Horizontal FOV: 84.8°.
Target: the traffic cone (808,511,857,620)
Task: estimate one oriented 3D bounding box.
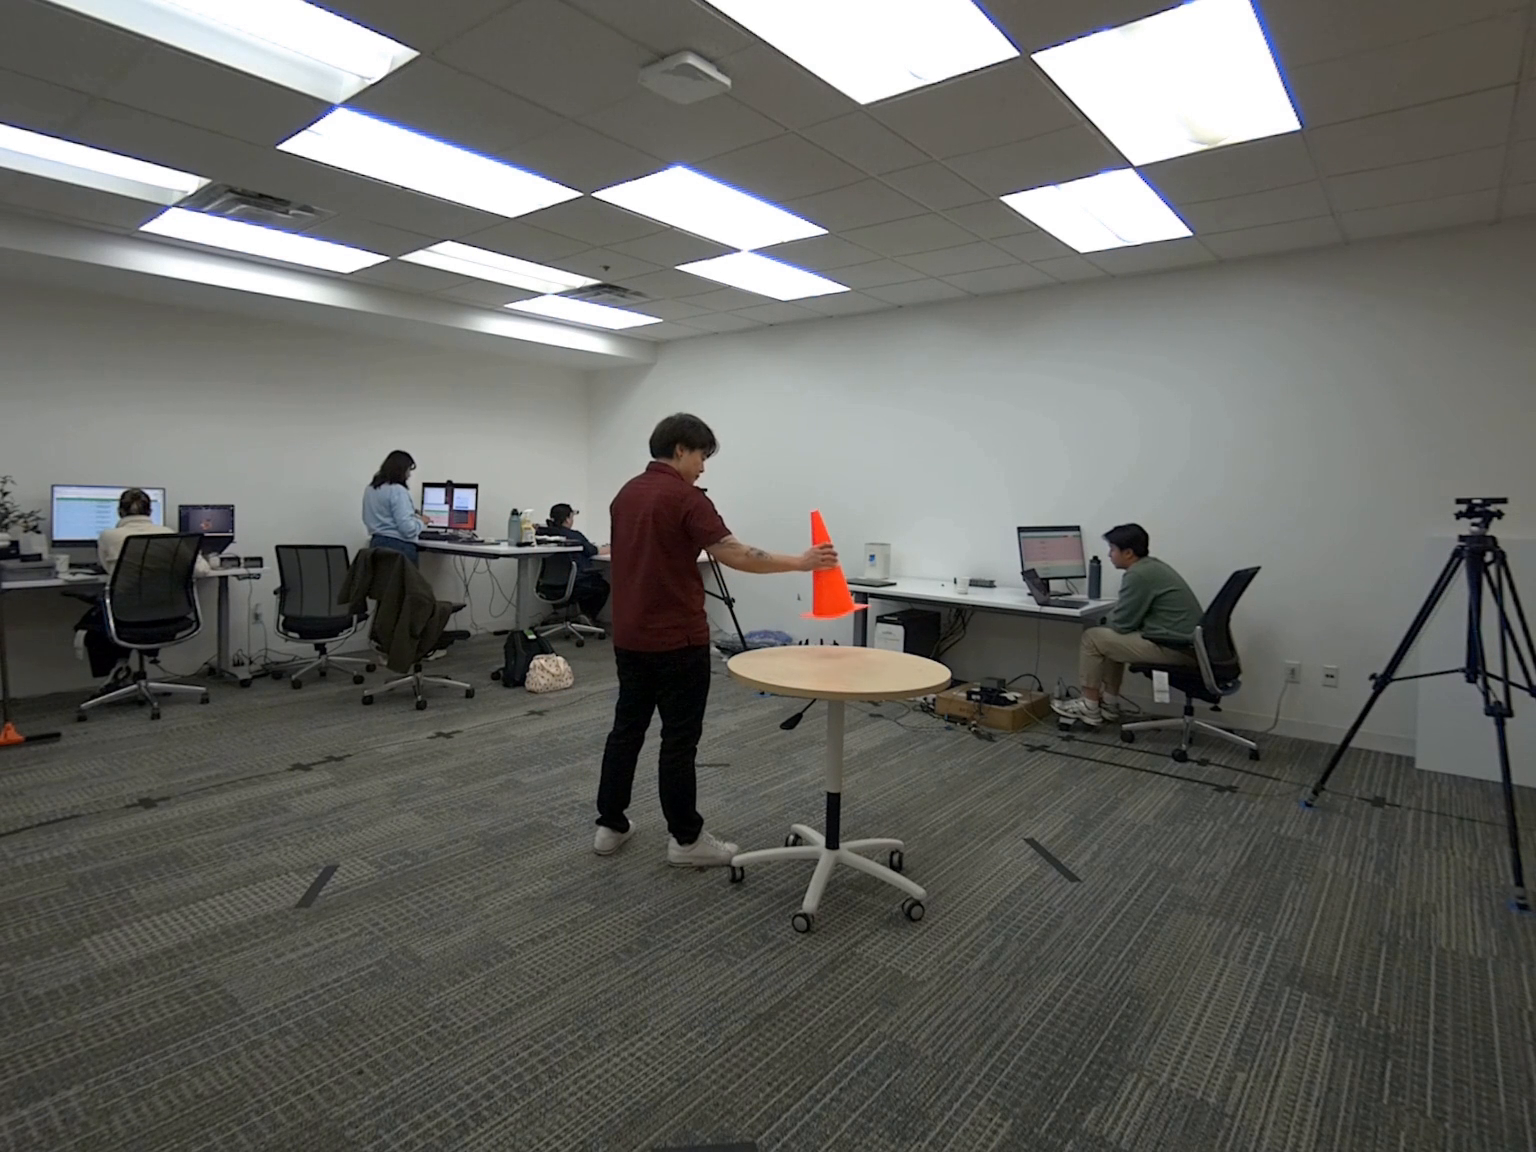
[{"bbox_3d":[0.195,-0.053,3.142,0.208,0.382,0.201,-8,5,32],"label":"traffic cone"}]
